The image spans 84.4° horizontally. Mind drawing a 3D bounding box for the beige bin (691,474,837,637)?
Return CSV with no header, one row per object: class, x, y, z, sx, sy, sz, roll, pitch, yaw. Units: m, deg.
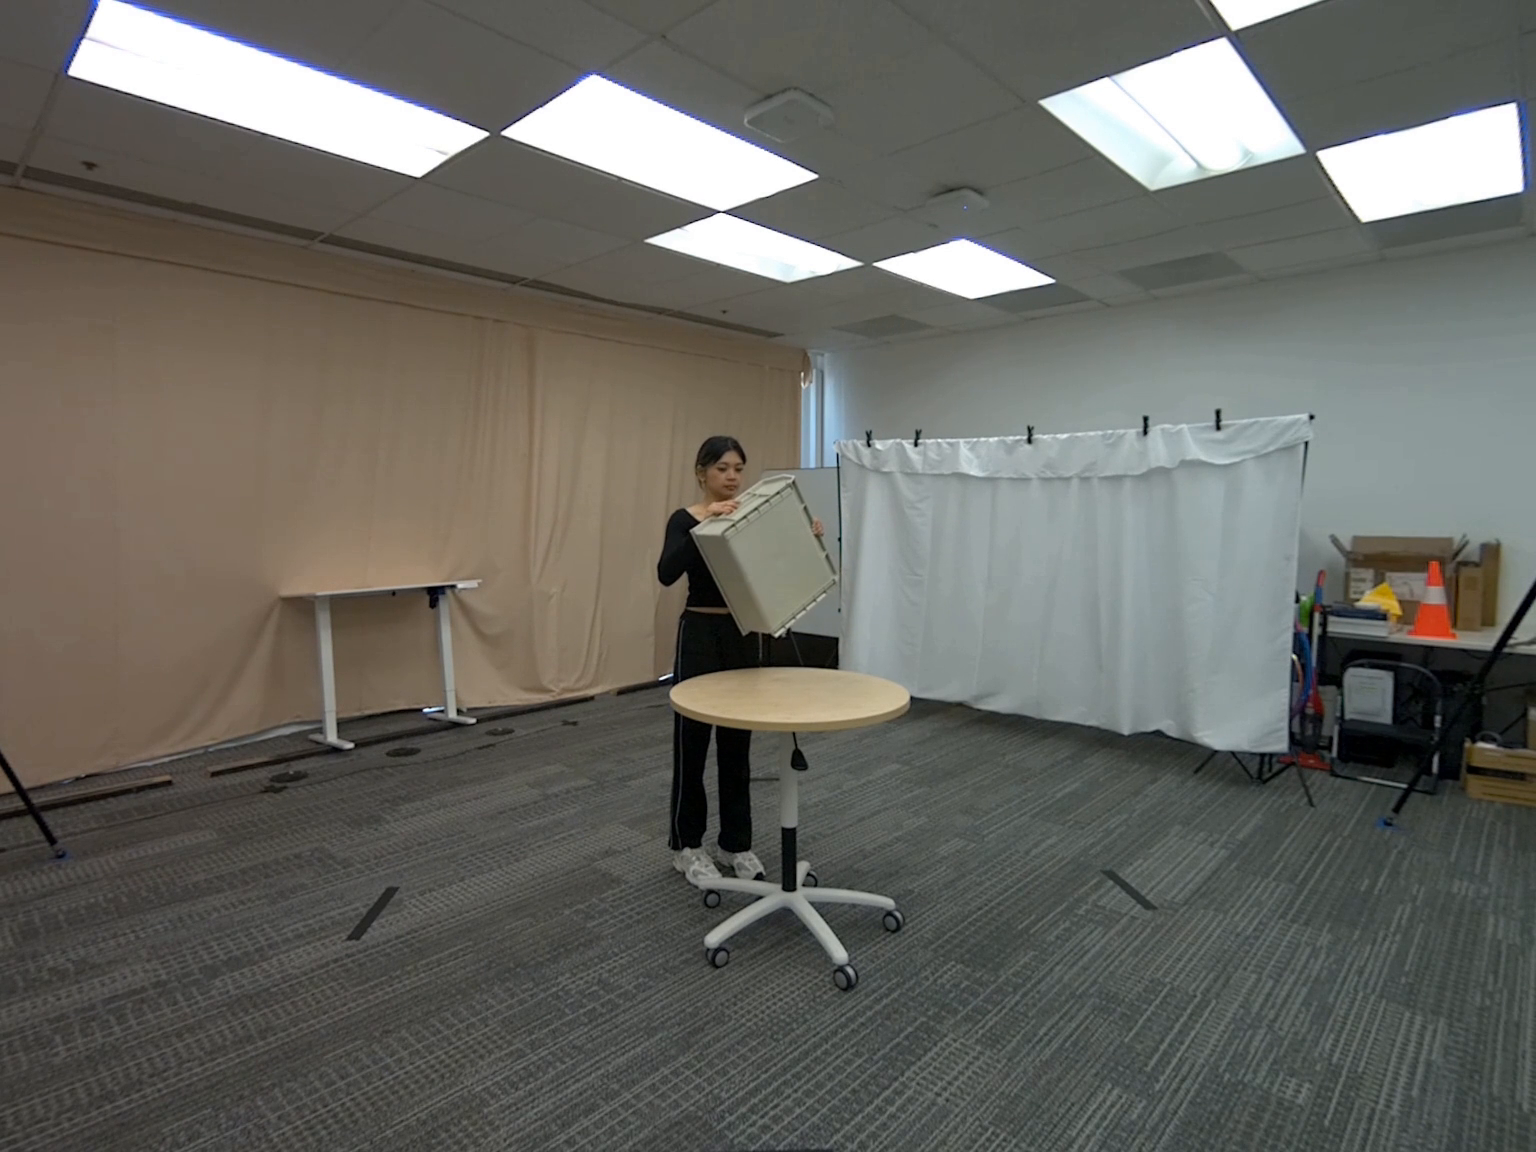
beige bin,0.011,-0.072,2.868,0.373,0.414,0.195,-36,22,-28
